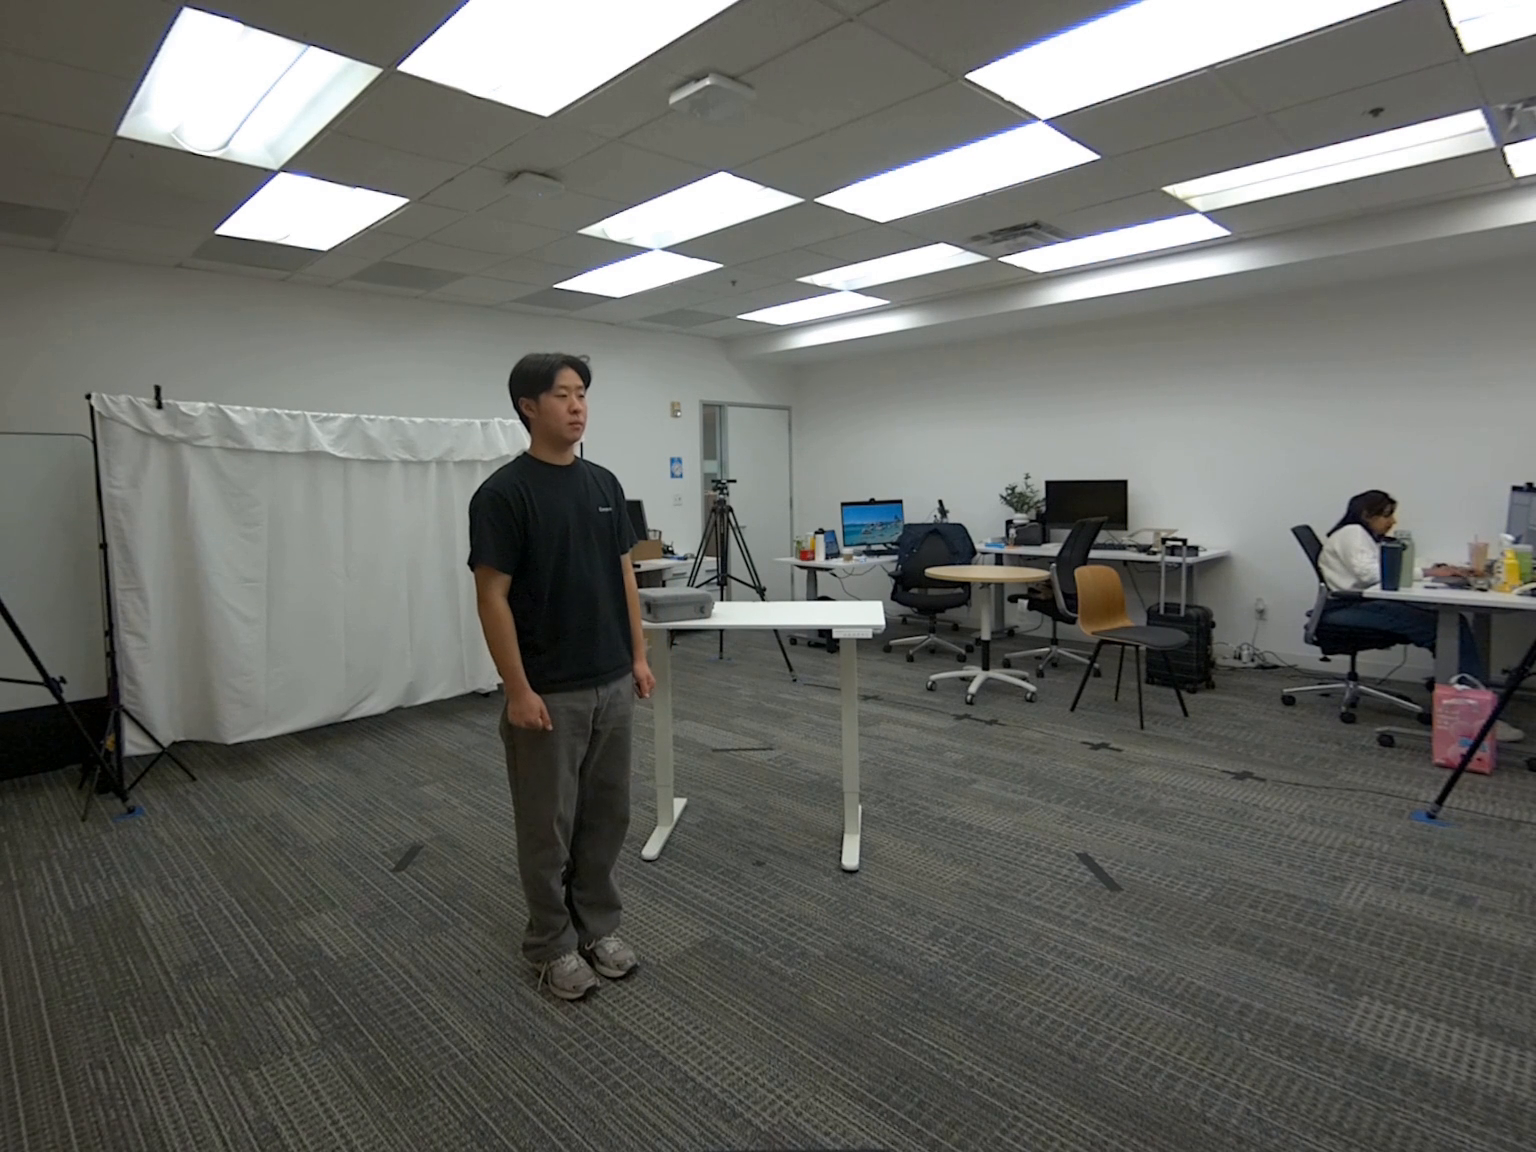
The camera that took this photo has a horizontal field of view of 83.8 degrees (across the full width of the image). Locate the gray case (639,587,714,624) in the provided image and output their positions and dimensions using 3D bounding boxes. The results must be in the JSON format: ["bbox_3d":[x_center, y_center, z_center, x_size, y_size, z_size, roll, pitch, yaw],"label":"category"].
[{"bbox_3d":[-0.363,0.094,3.263,0.259,0.102,0.293,-3,8,-19],"label":"gray case"}]
